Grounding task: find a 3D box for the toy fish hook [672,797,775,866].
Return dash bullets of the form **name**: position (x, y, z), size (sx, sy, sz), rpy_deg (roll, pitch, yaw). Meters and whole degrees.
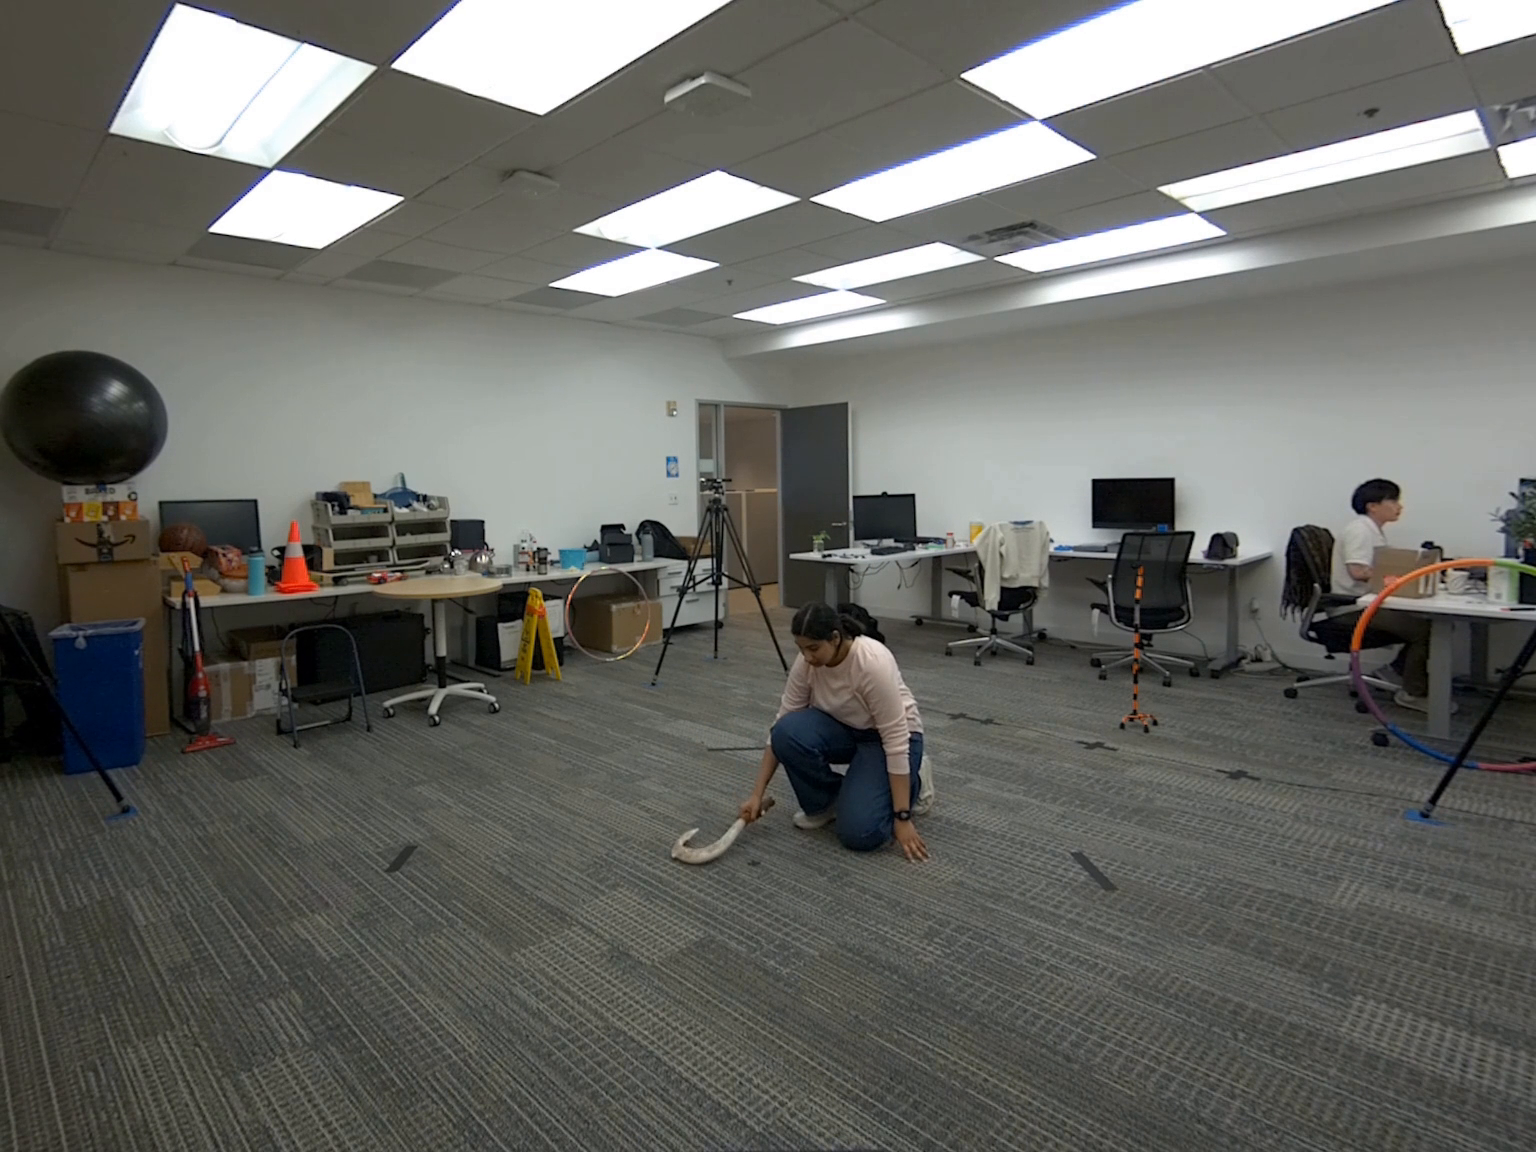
- **toy fish hook**: position (-0.172, 0.974, 3.309), size (0.231, 0.048, 0.496), rpy_deg (3, 14, 39)
